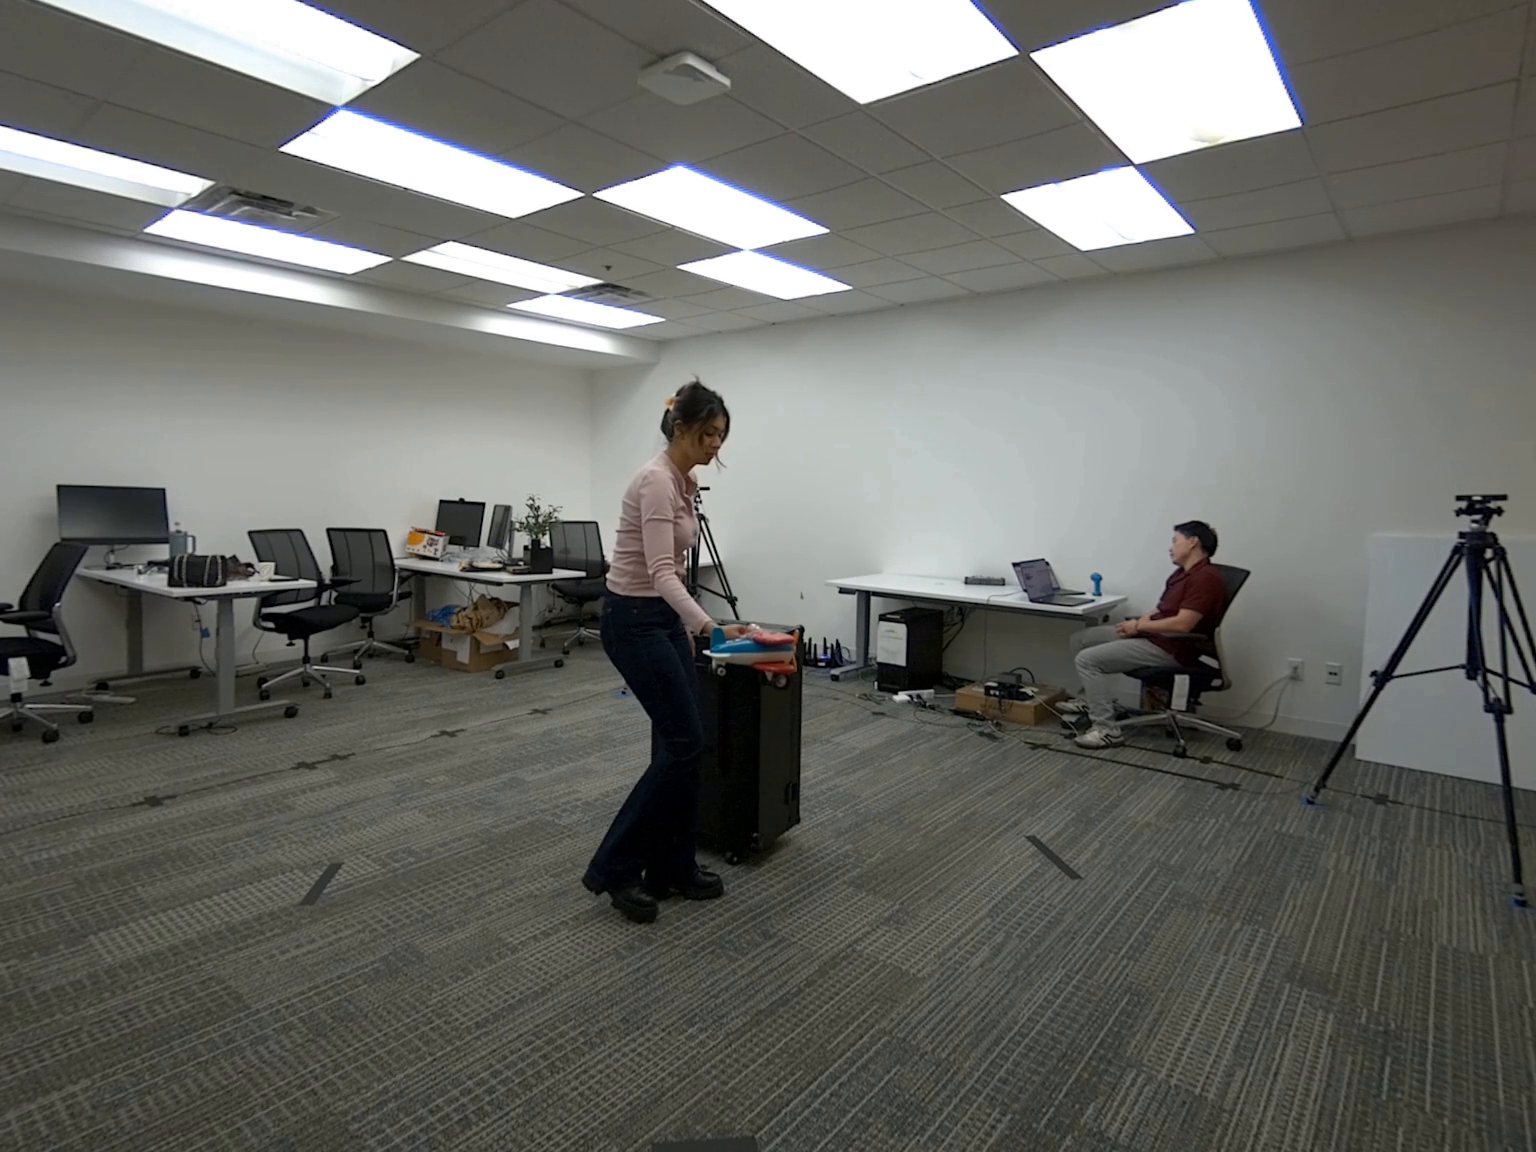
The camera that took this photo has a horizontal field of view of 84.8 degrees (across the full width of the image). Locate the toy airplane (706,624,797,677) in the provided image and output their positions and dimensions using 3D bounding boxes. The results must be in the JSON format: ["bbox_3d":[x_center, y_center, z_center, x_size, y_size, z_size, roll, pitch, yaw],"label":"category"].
[{"bbox_3d":[-0.046,0.224,2.350,0.260,0.157,0.249,8,-7,39],"label":"toy airplane"}]
